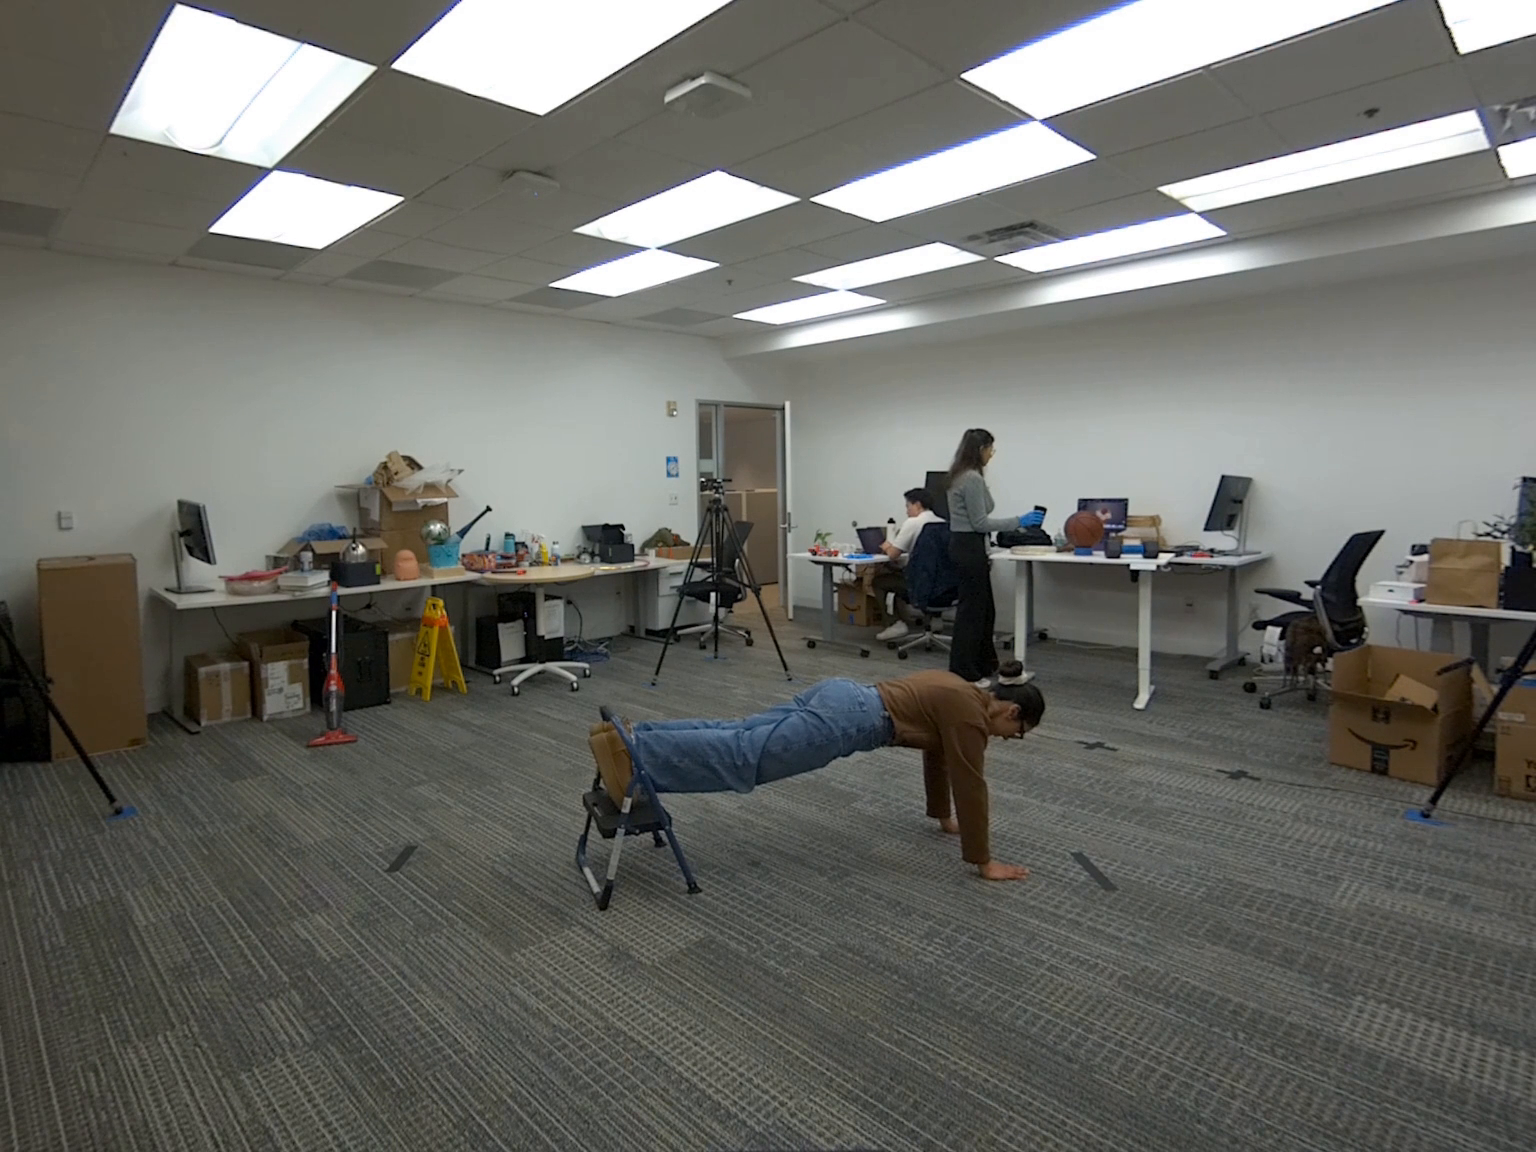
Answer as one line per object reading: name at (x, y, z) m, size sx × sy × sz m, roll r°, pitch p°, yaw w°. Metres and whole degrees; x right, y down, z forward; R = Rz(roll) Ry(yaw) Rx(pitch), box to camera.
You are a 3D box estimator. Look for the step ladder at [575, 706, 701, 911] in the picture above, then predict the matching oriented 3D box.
step ladder at (-0.475, 0.764, 3.009) m, size 0.342 × 0.604 × 0.441 m, roll -3°, pitch 5°, yaw -24°
